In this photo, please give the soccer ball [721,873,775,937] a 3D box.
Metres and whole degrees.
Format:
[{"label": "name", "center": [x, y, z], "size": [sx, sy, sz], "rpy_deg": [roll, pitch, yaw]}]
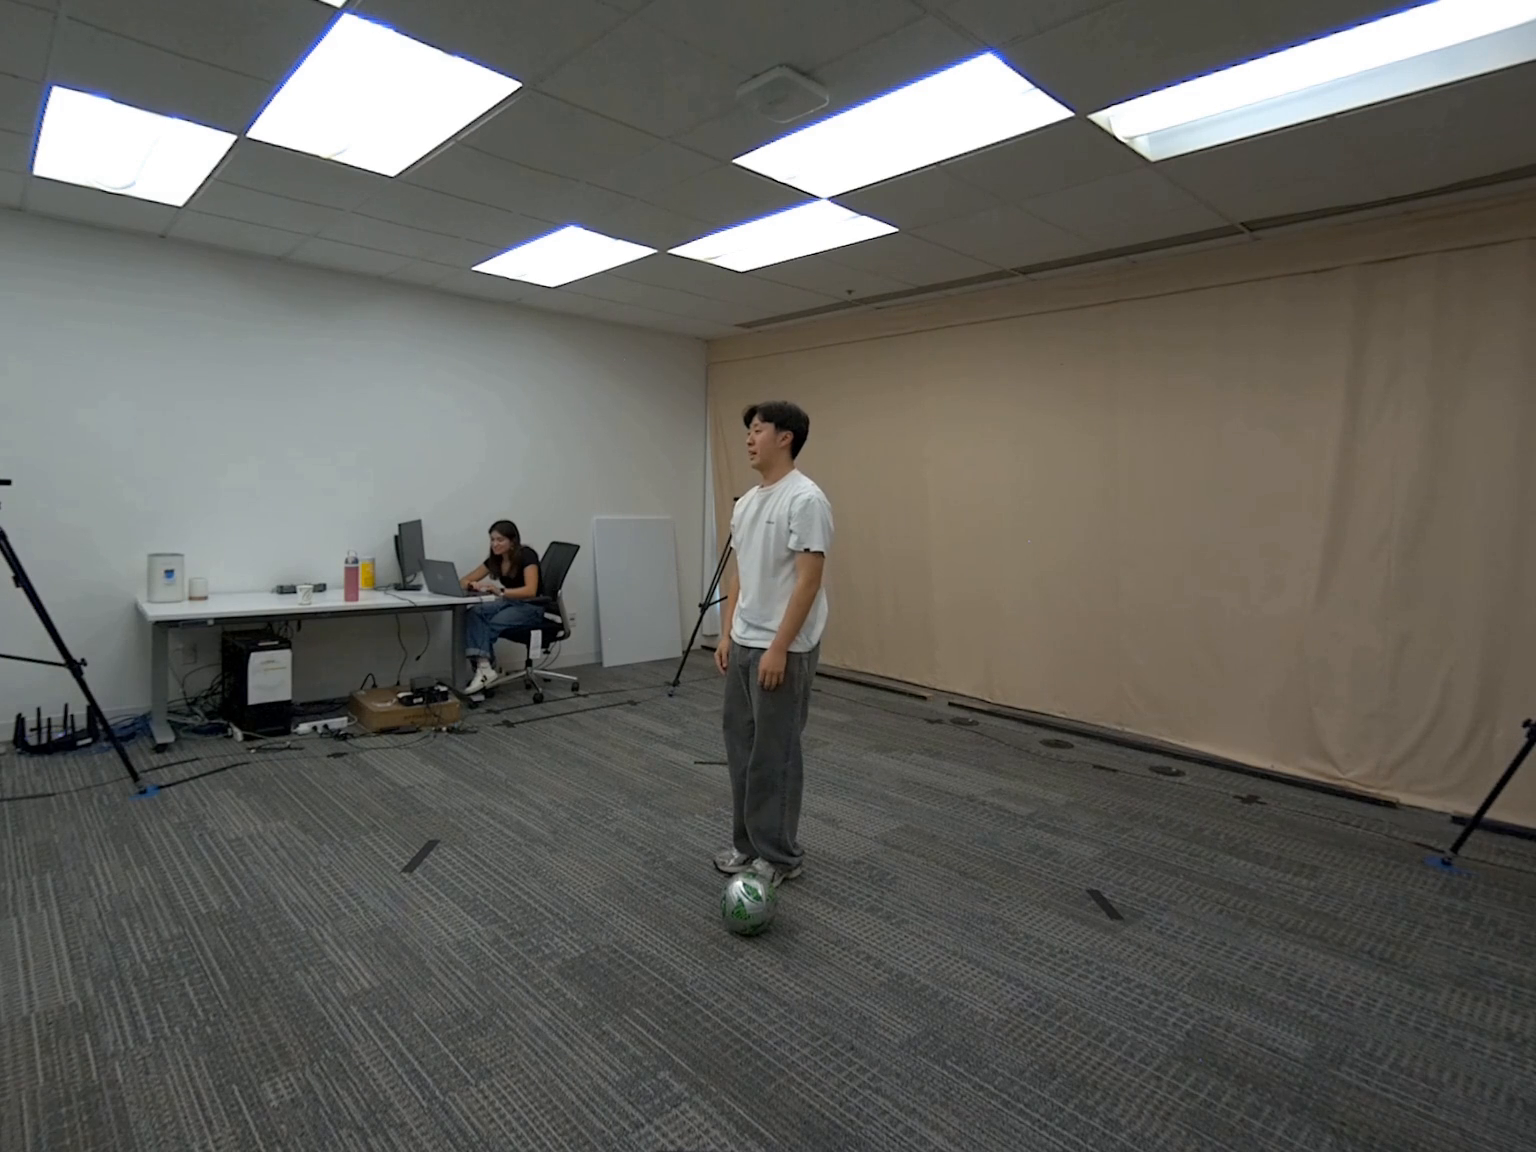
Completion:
[{"label": "soccer ball", "center": [-0.078, 1.058, 2.701], "size": [0.187, 0.187, 0.188], "rpy_deg": [1, 4, -1]}]
